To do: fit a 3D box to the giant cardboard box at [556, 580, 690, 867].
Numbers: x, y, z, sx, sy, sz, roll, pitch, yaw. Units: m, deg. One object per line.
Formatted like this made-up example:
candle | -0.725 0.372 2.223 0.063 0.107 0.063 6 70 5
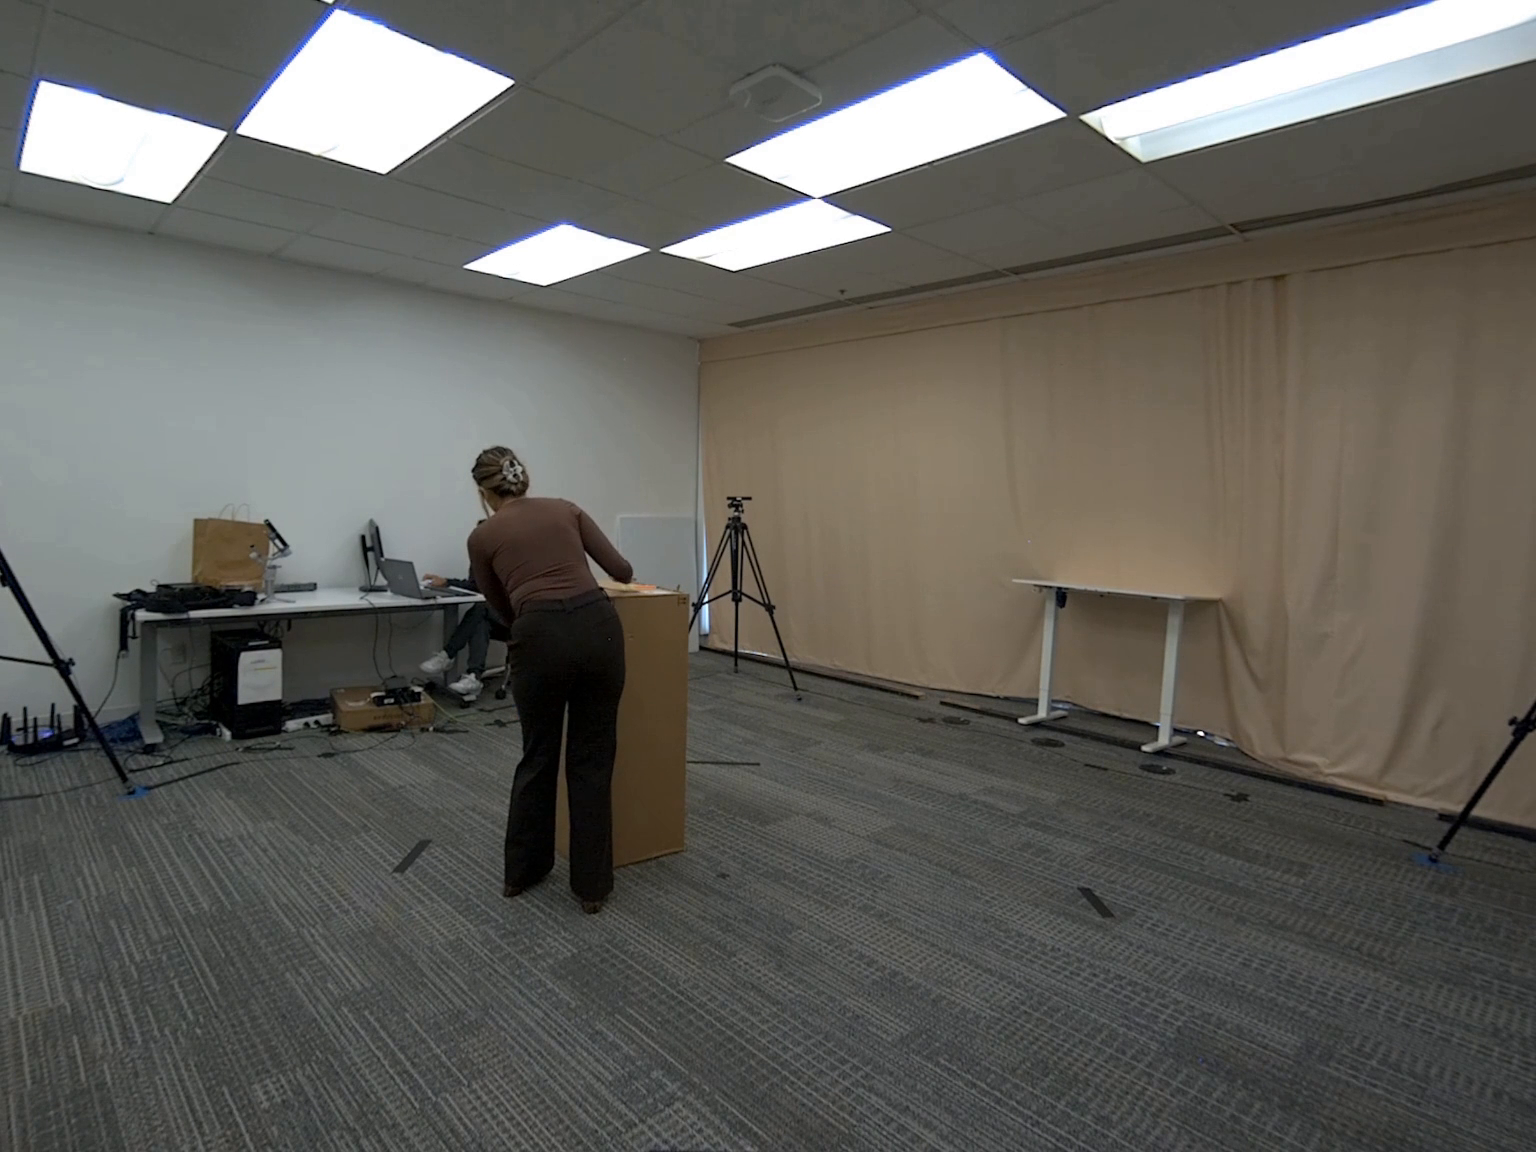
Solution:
giant cardboard box | -0.660 0.556 3.408 0.437 1.025 0.598 0 4 -36
